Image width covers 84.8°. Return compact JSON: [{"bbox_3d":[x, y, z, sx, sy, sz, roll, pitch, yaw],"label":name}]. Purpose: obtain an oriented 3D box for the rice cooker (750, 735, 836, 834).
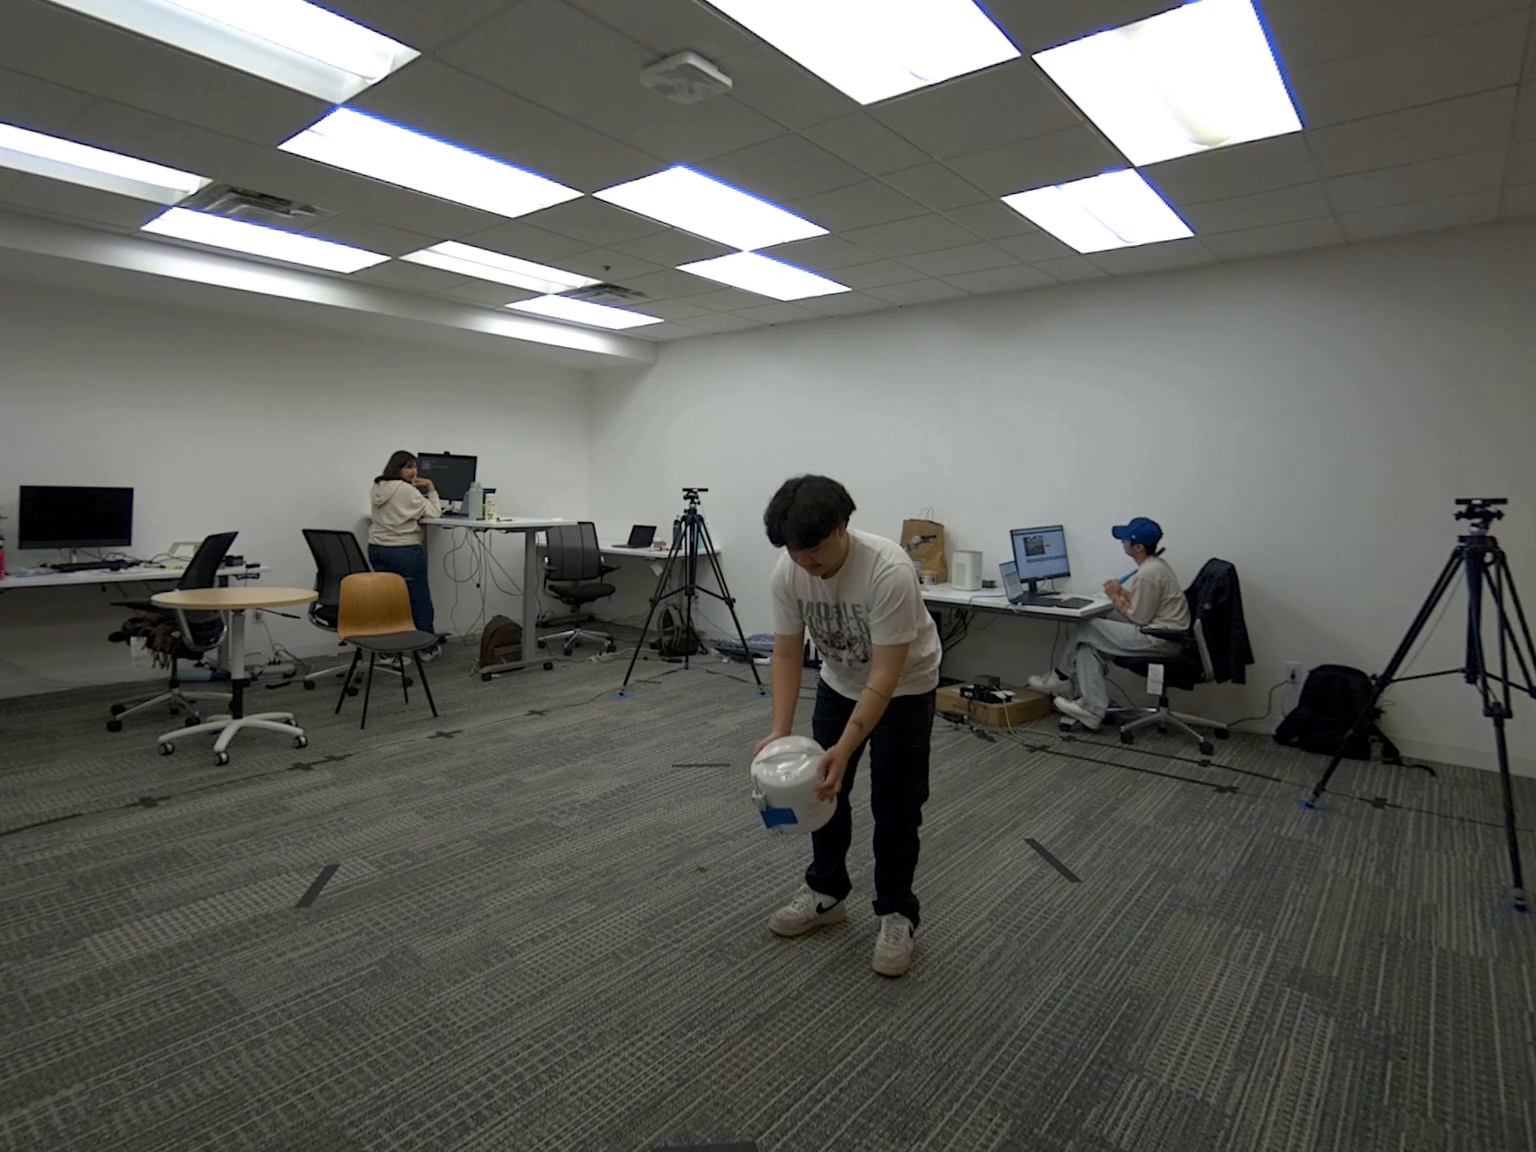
[{"bbox_3d":[0.060,0.563,2.372,0.223,0.227,0.221,-9,25,11],"label":"rice cooker"}]
